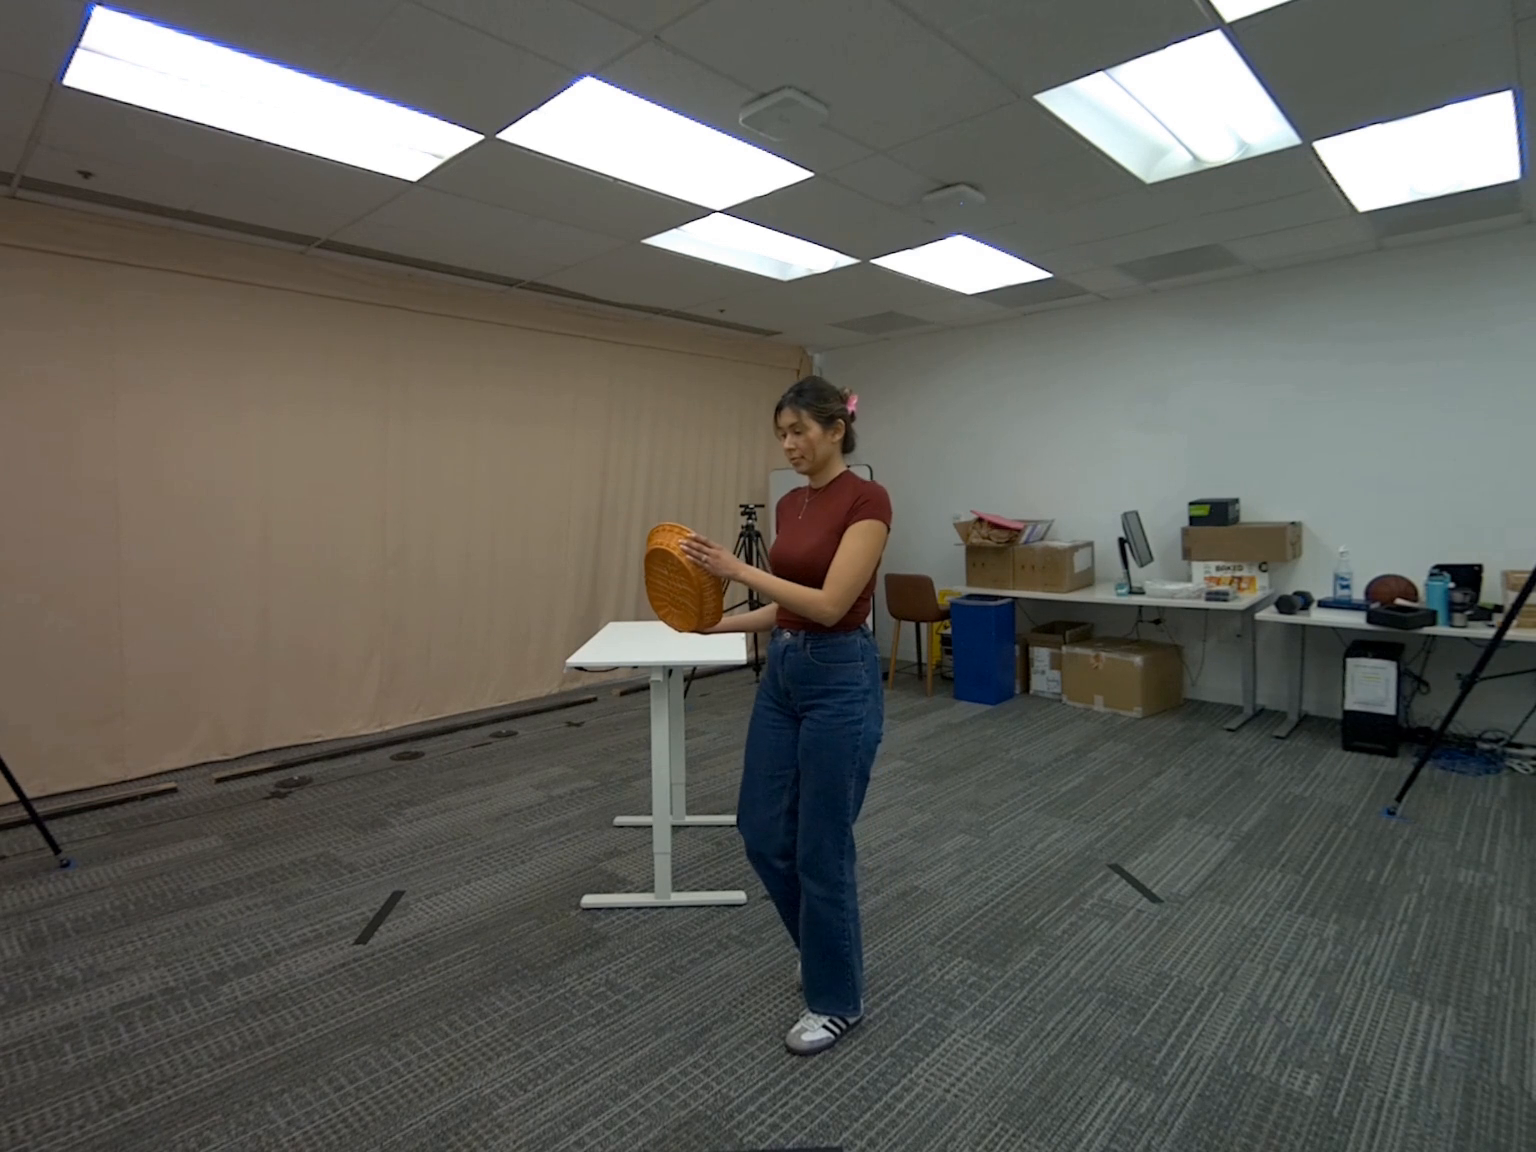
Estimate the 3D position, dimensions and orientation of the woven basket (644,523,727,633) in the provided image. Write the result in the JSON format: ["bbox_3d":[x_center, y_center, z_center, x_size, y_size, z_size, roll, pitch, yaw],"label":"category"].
[{"bbox_3d":[-0.234,0.028,2.235,0.260,0.343,0.072,19,42,30],"label":"woven basket"}]
